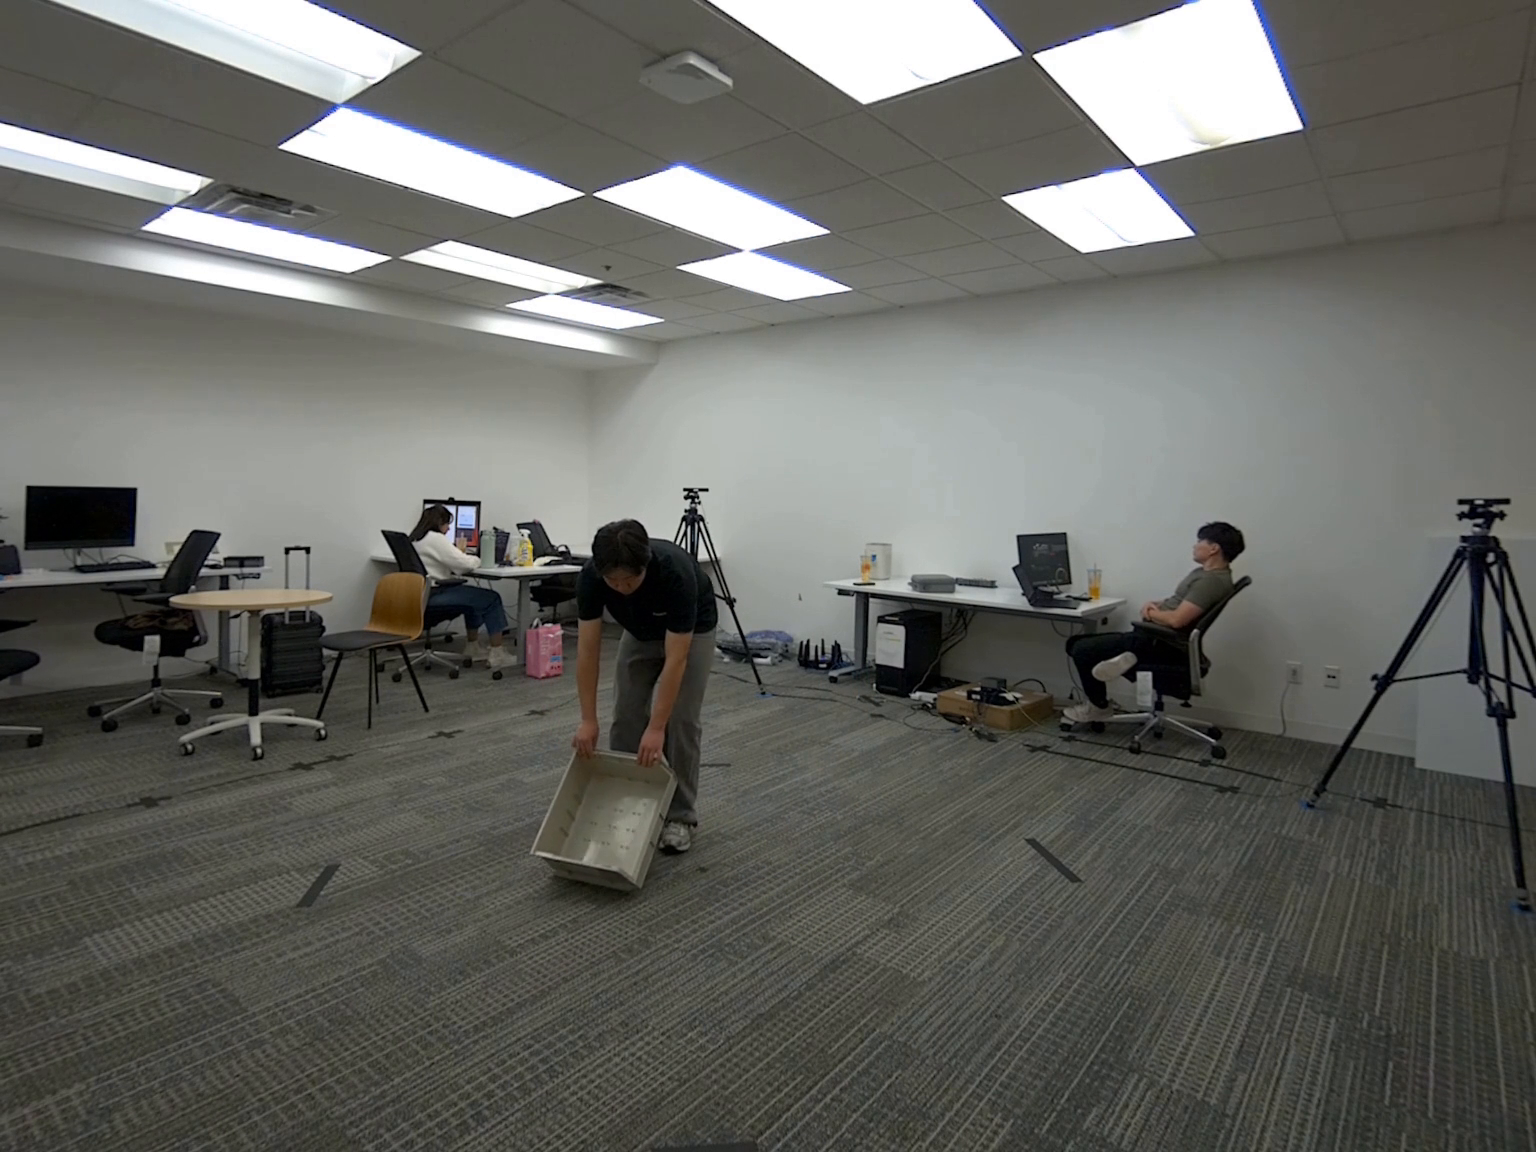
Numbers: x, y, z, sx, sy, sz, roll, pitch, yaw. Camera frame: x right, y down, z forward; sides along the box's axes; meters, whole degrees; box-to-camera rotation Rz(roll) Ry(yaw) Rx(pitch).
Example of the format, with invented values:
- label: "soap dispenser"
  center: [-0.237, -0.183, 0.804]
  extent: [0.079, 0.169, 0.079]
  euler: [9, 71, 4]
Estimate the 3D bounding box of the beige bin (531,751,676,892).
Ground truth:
- label: "beige bin"
  center: [-0.572, 0.860, 3.042]
  extent: [0.386, 0.429, 0.182]
  euler: [2, -42, 20]
